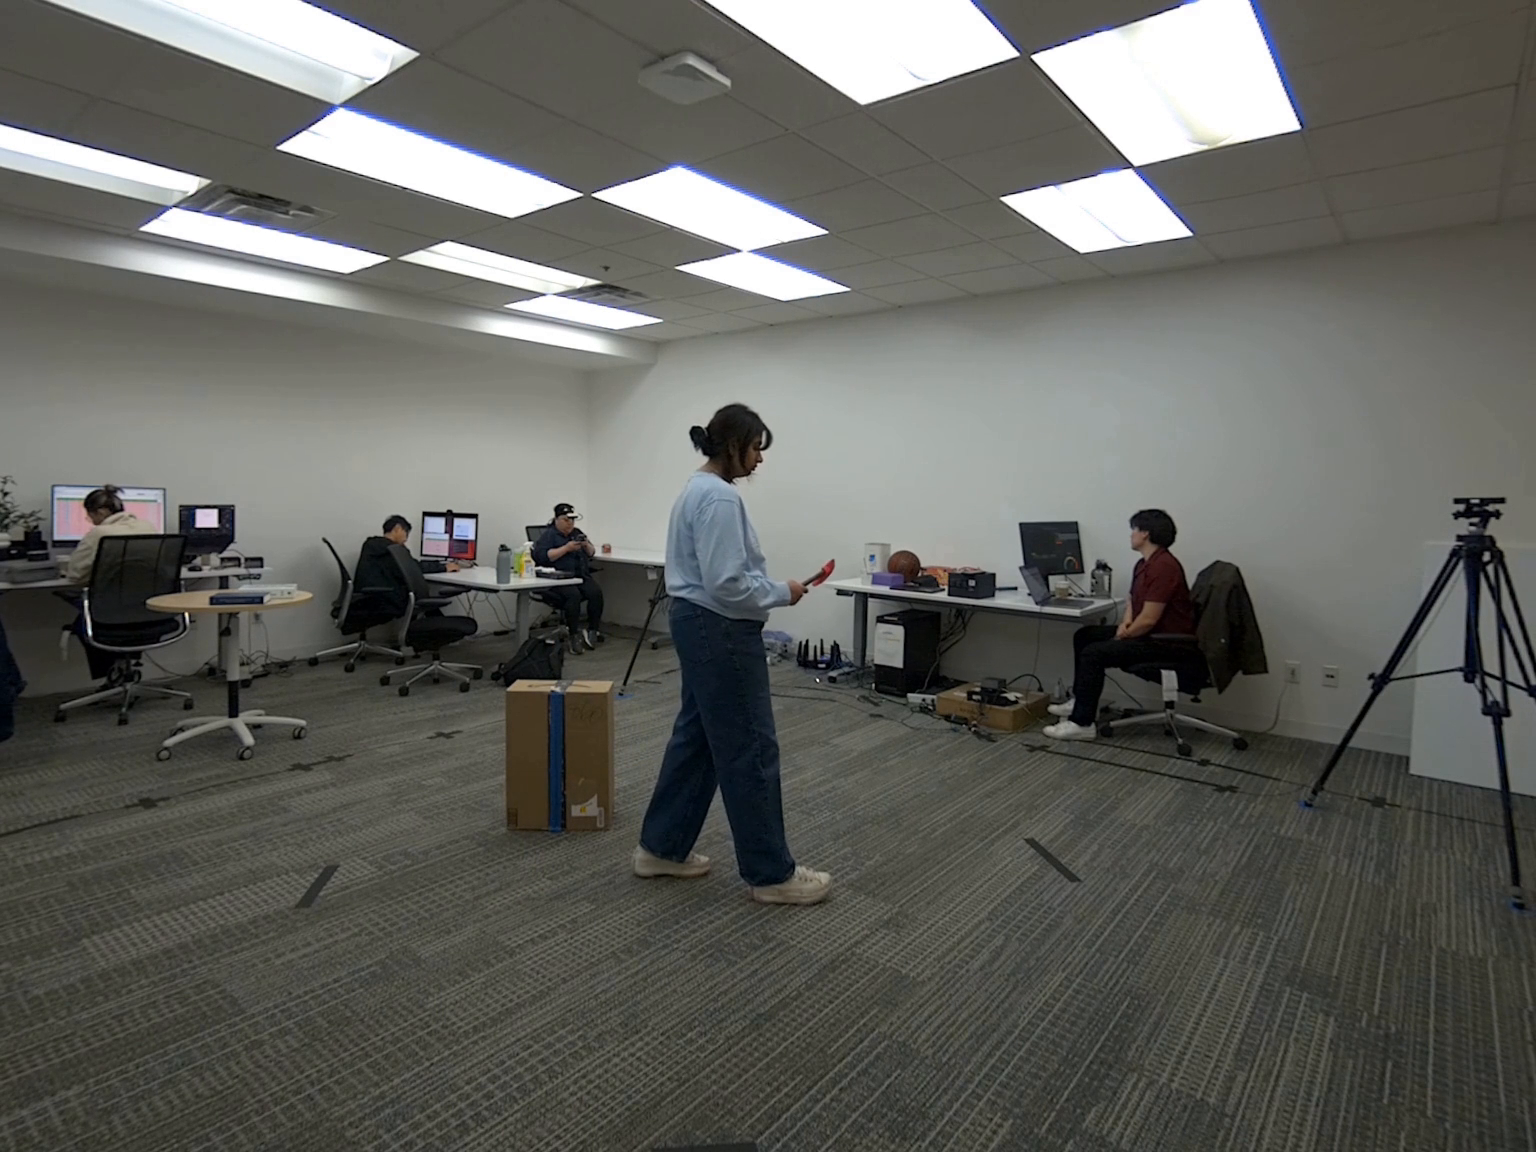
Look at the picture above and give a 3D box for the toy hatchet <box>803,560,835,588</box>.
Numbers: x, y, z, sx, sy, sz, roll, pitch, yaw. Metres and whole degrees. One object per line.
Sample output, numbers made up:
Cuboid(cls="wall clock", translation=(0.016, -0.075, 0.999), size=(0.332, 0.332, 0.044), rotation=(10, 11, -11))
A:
Cuboid(cls="toy hatchet", translation=(0.127, 0.038, 2.998), size=(0.268, 0.030, 0.128), rotation=(-36, -20, -19))
